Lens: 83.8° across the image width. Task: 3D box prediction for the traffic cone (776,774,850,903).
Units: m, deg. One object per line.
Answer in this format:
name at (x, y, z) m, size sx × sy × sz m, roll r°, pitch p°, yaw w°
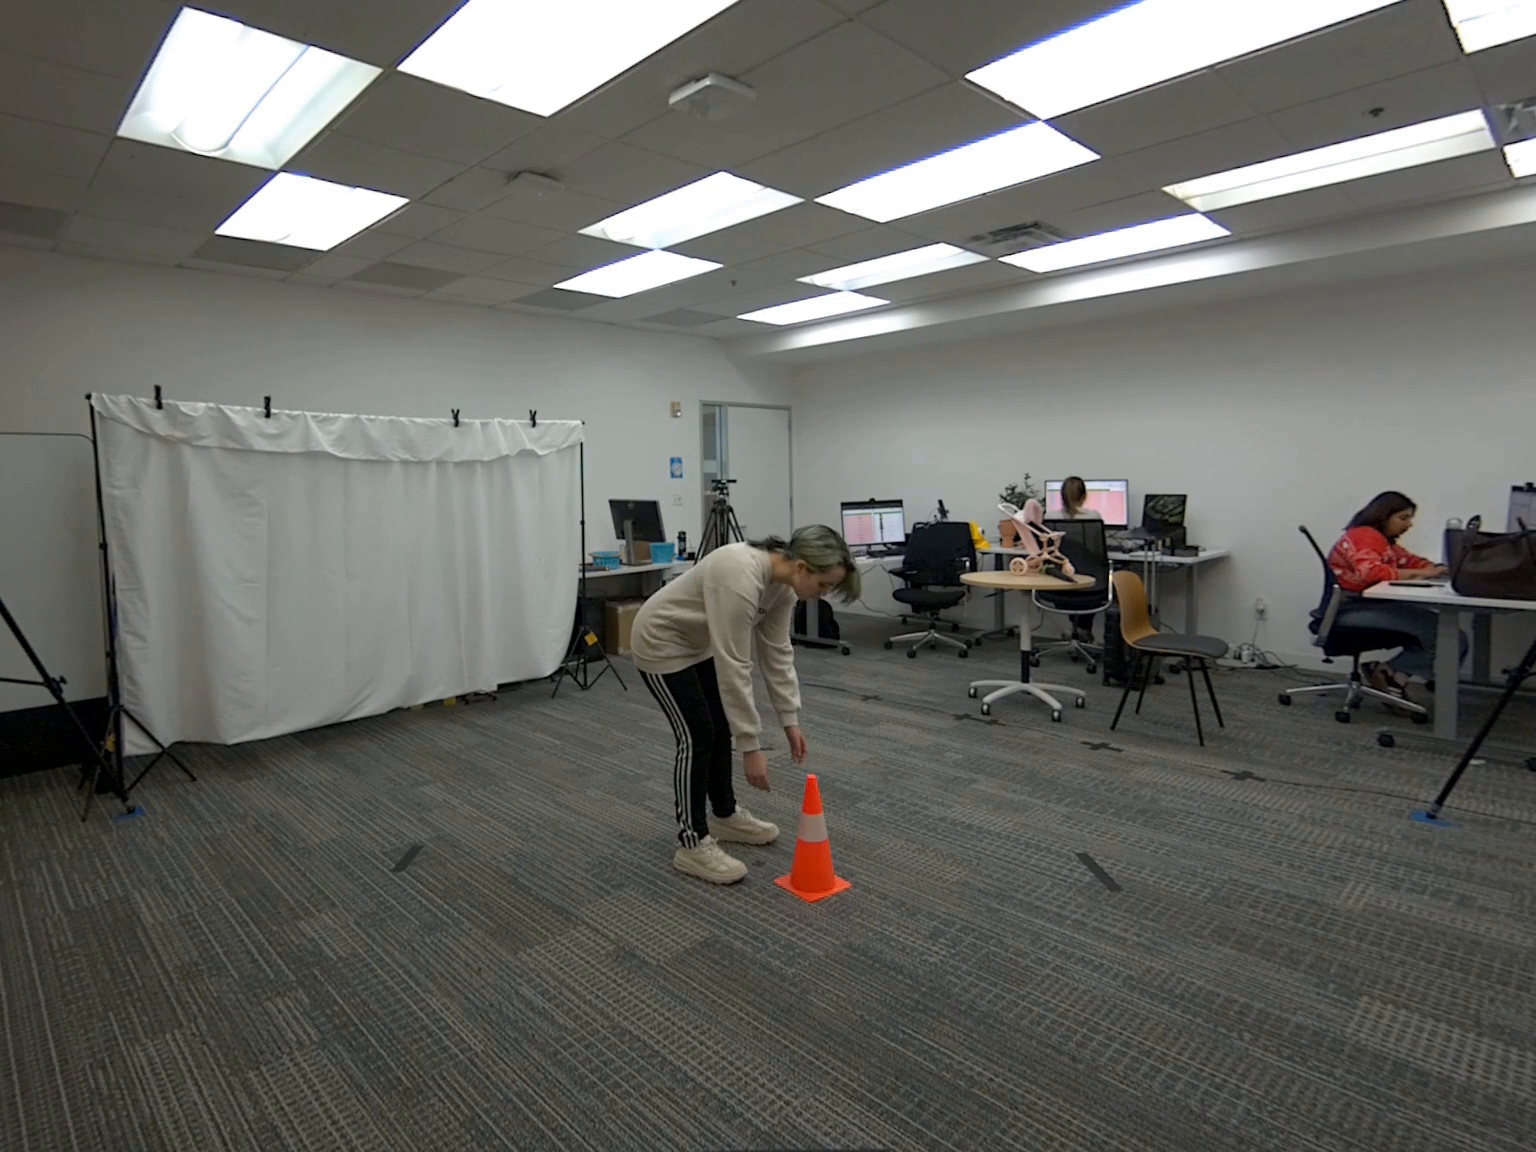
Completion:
traffic cone at (0.149, 0.876, 2.939) m, size 0.200 × 0.382 × 0.209 m, roll -5°, pitch 5°, yaw -32°
